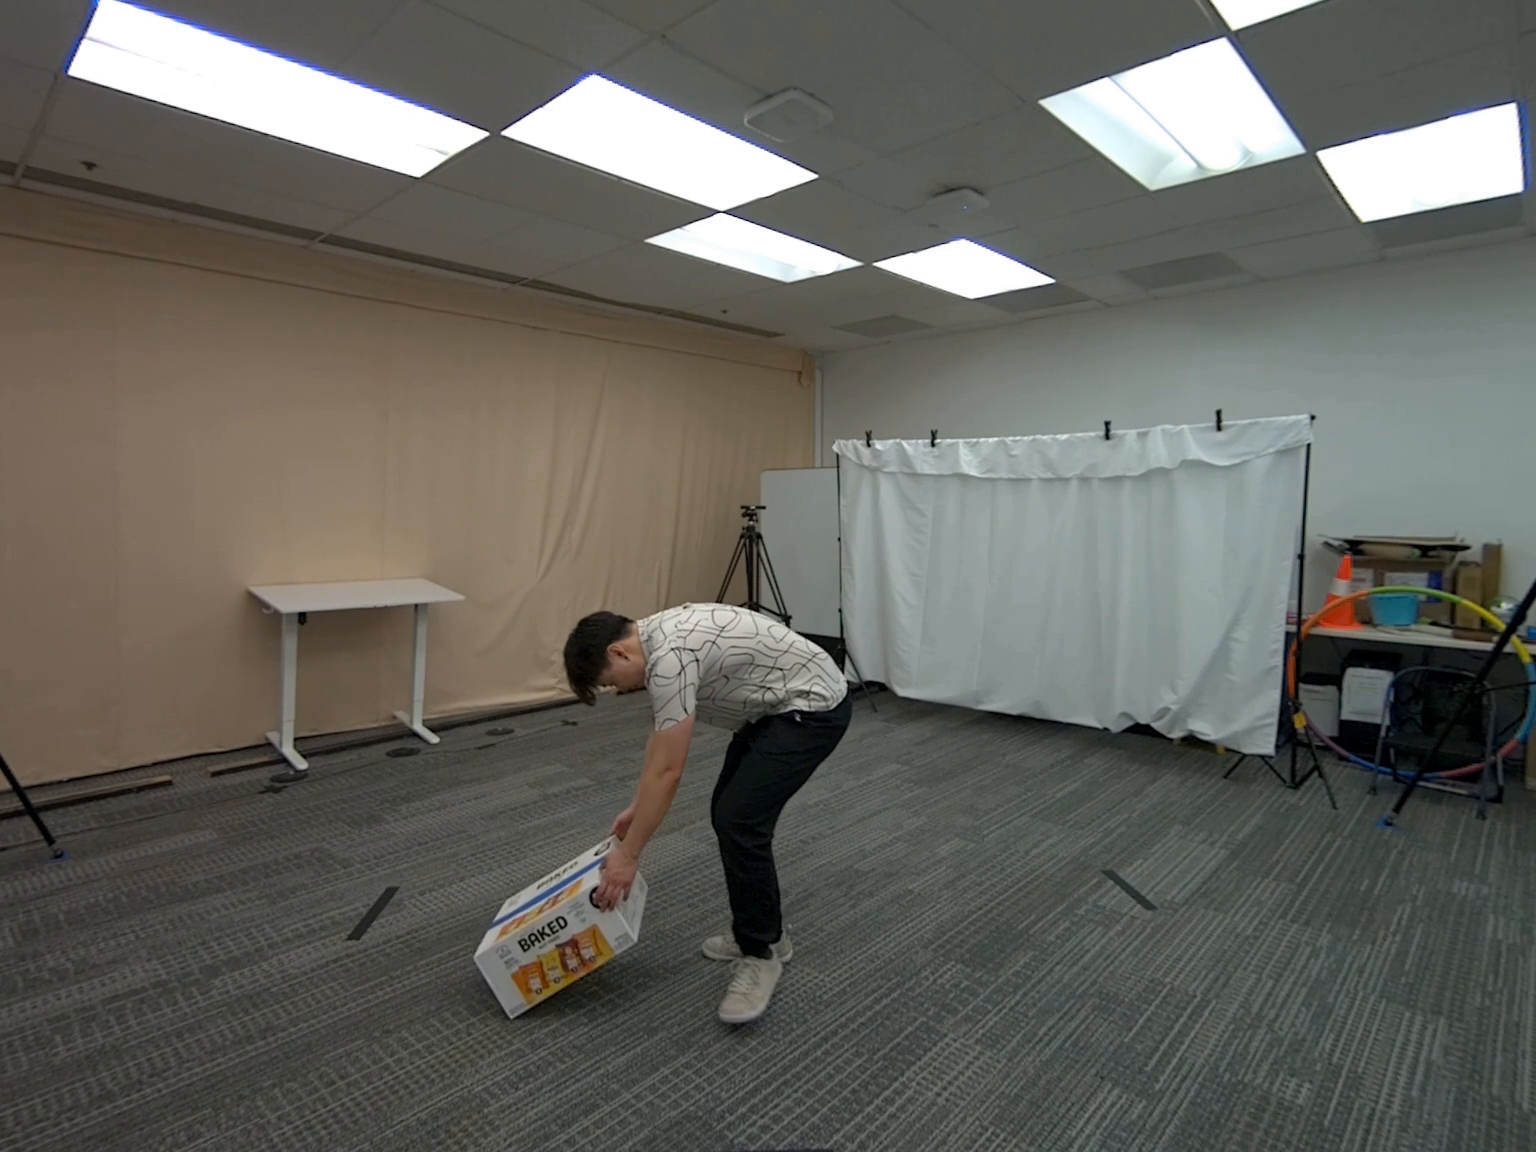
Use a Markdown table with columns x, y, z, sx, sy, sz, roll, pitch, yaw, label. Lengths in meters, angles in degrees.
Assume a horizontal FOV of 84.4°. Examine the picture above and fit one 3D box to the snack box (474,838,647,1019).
| x | y | z | sx | sy | sz | roll | pitch | yaw | label |
| --- | --- | --- | --- | --- | --- | --- | --- | --- | --- |
| -0.587 | 1.006 | 2.440 | 0.405 | 0.205 | 0.341 | -31 | 4 | 1 | snack box |
